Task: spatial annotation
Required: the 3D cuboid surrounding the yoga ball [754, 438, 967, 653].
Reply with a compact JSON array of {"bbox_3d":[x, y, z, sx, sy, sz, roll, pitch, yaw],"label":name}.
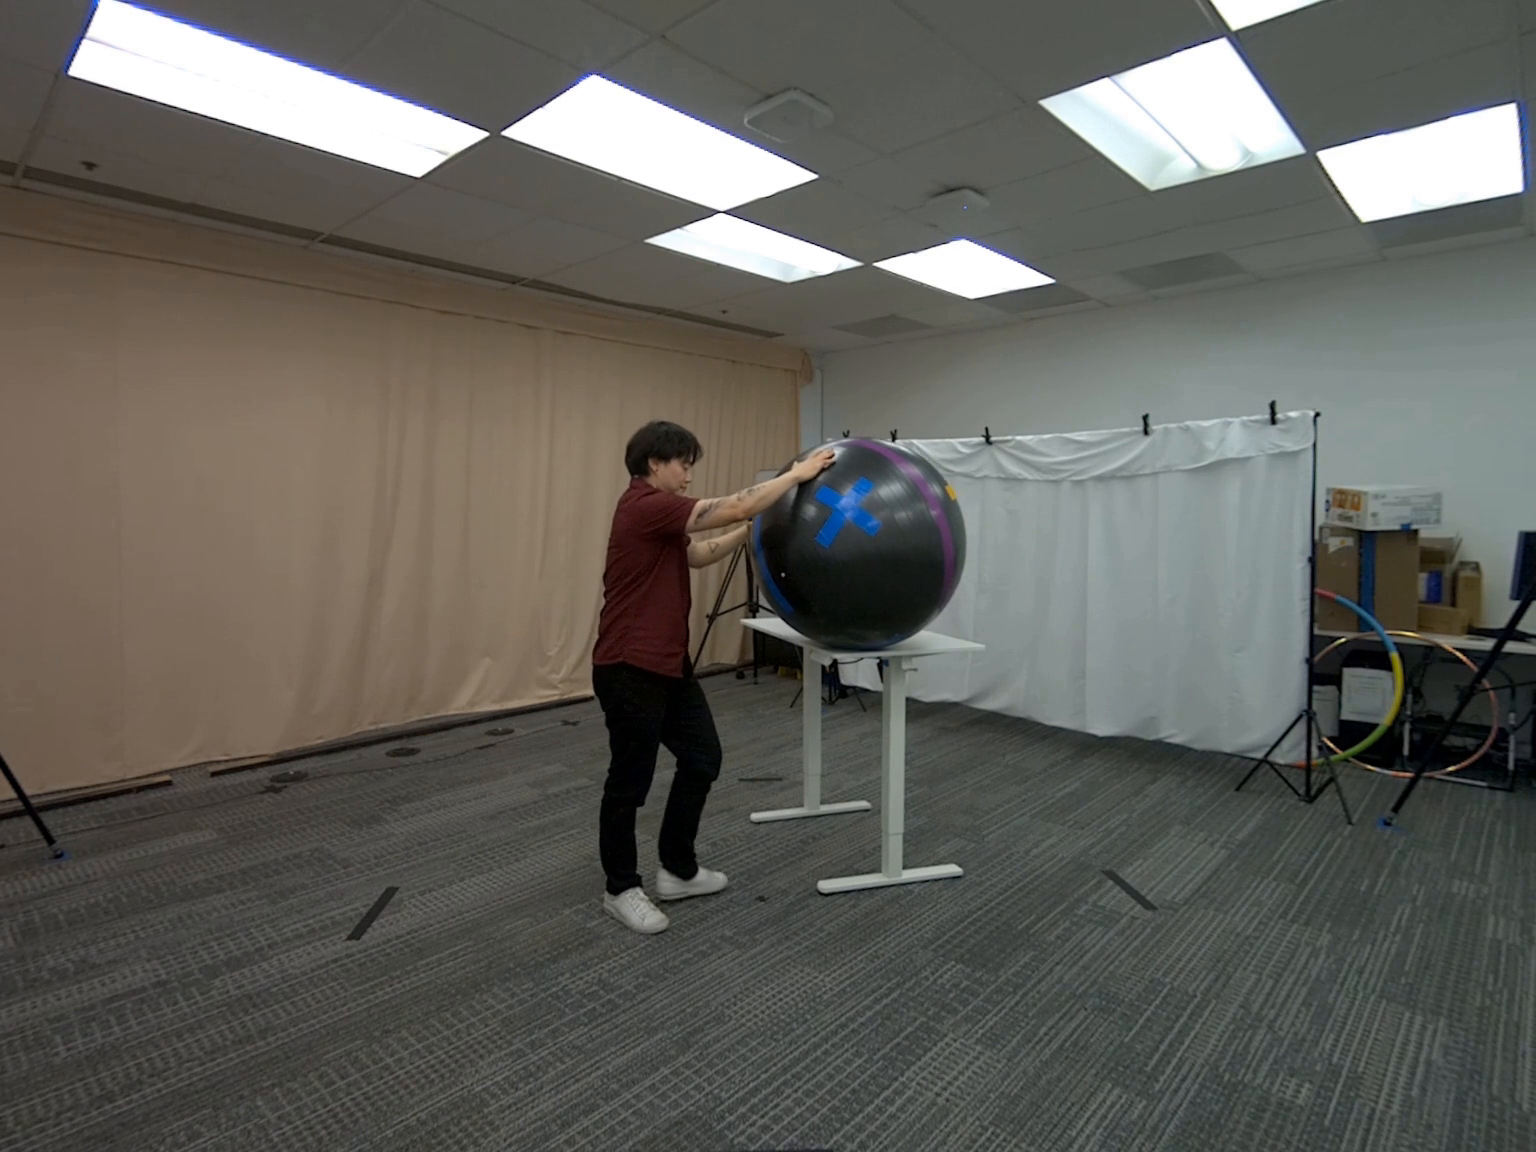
[{"bbox_3d":[0.319,-0.111,3.016,0.757,0.756,0.760,0,4,-2],"label":"yoga ball"}]
